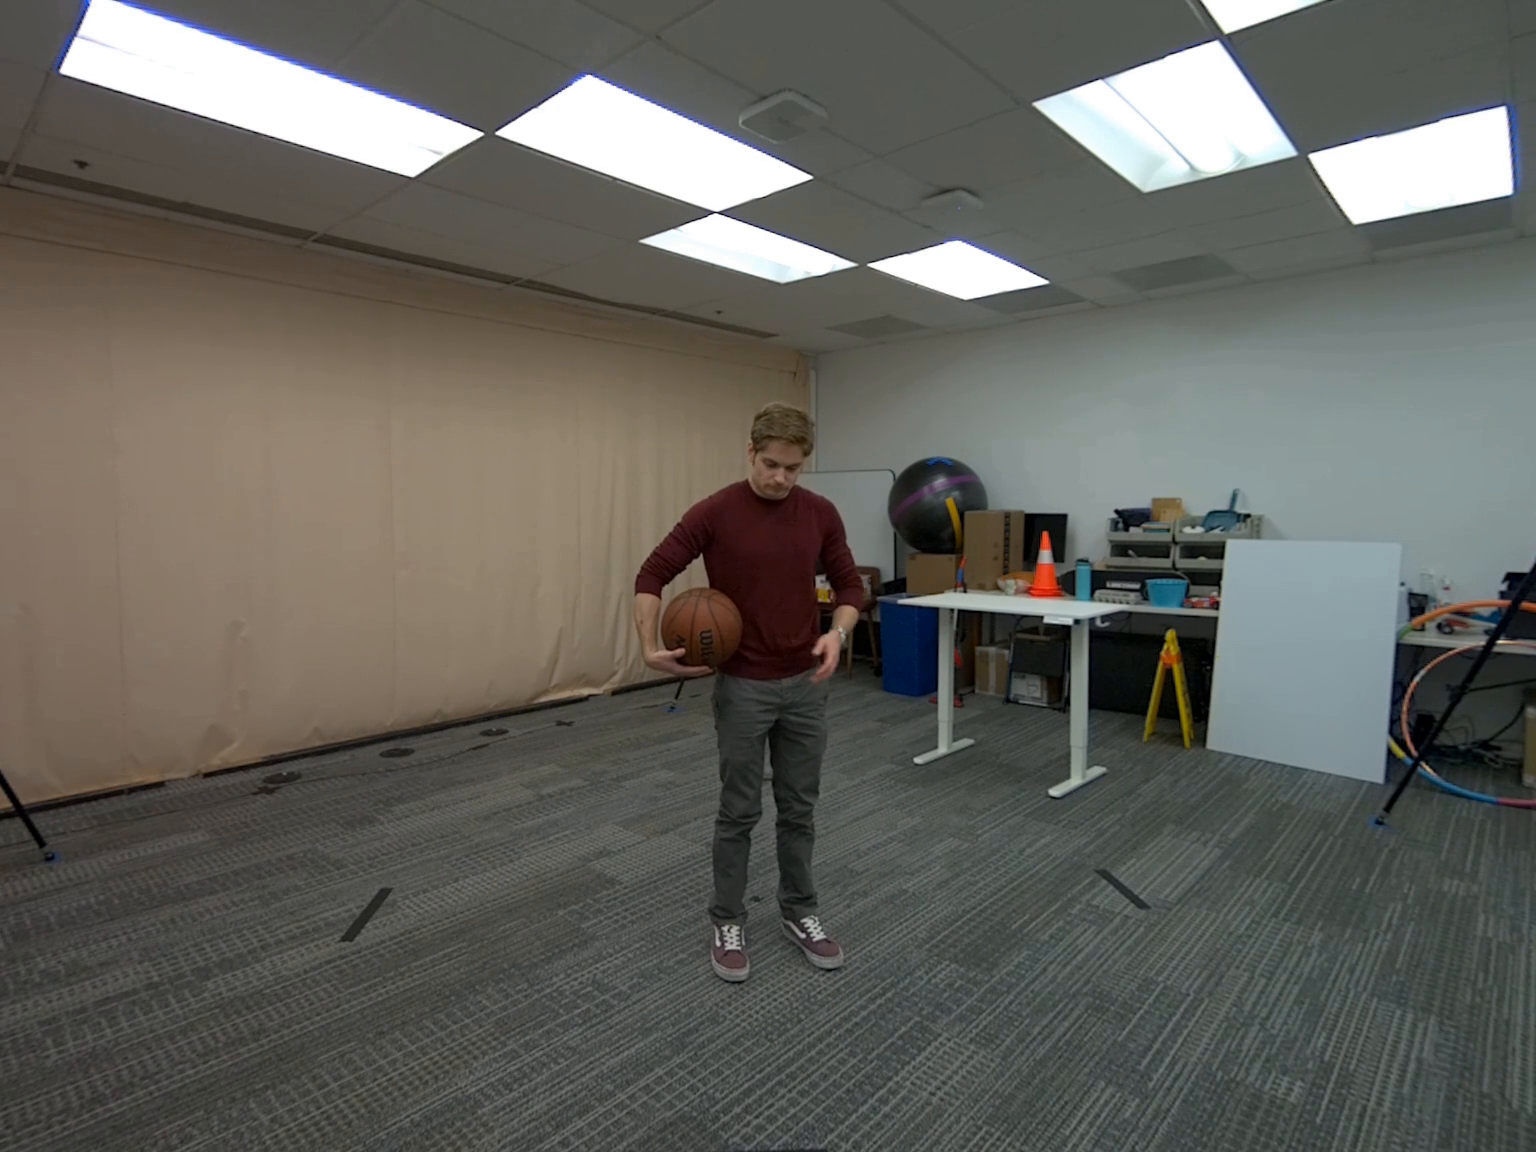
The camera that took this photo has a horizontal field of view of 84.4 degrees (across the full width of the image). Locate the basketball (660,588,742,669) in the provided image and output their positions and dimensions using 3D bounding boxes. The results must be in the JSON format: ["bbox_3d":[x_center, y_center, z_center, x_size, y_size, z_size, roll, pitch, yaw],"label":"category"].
[{"bbox_3d":[-0.189,0.153,2.451,0.236,0.235,0.237,0,4,-2],"label":"basketball"}]
